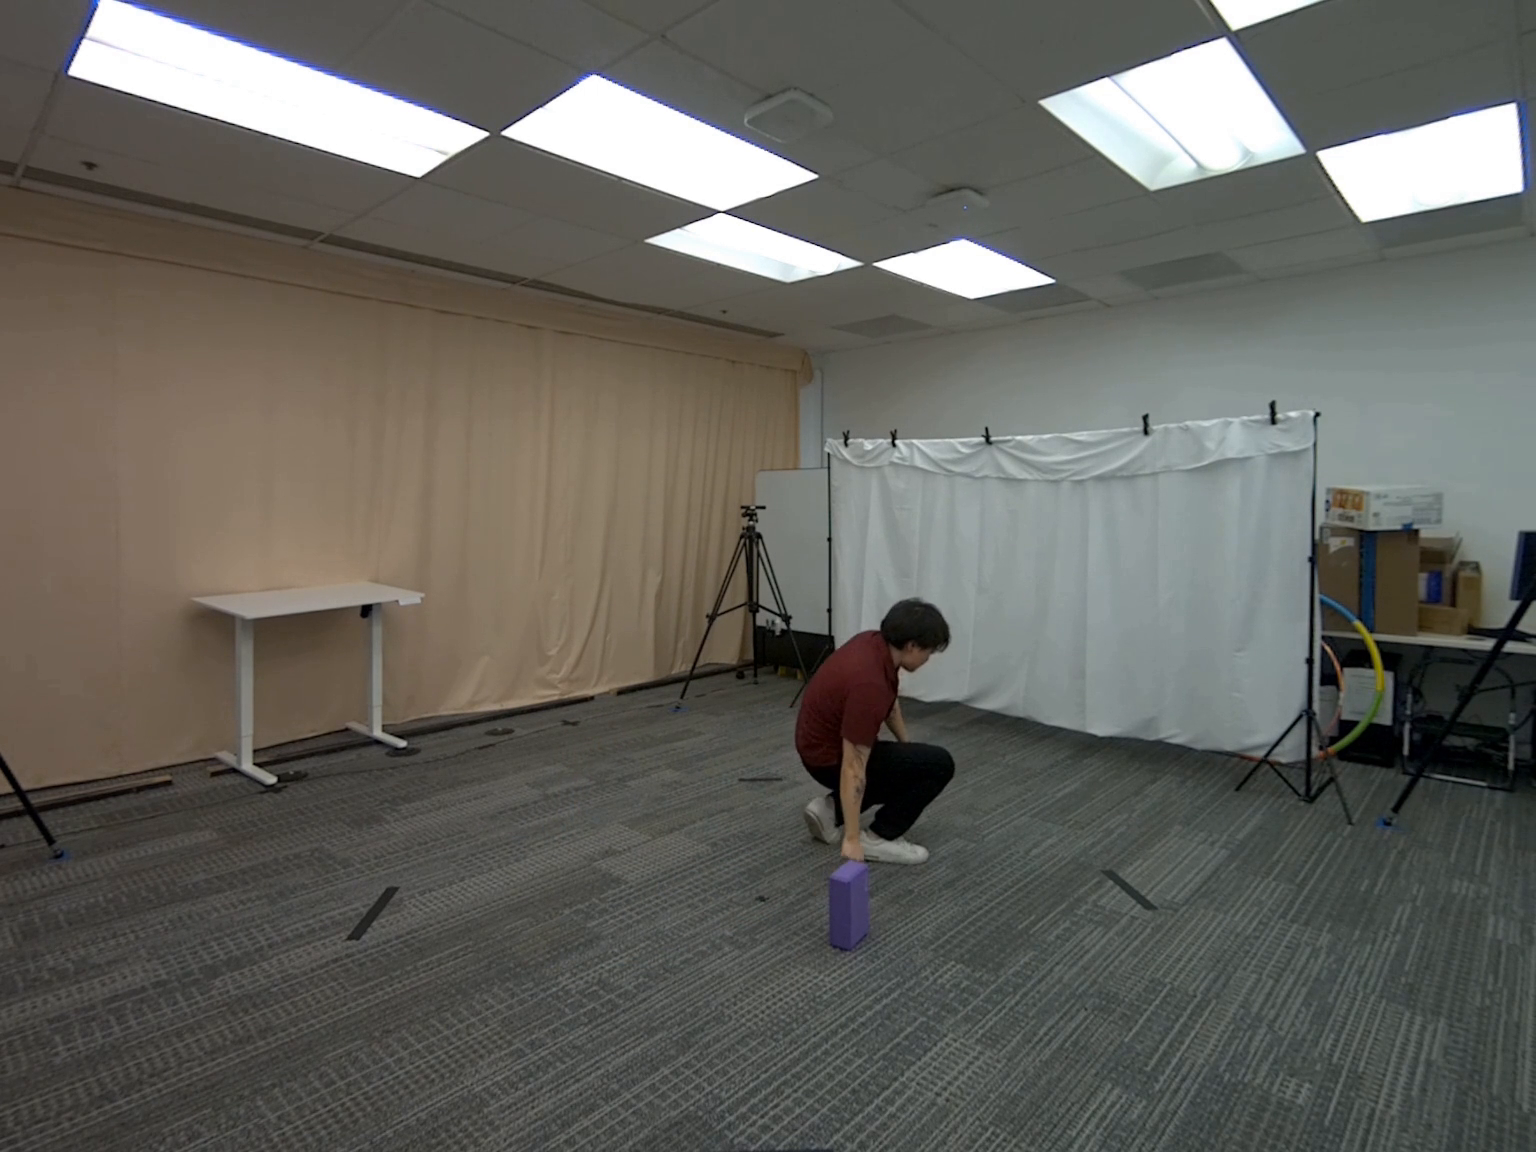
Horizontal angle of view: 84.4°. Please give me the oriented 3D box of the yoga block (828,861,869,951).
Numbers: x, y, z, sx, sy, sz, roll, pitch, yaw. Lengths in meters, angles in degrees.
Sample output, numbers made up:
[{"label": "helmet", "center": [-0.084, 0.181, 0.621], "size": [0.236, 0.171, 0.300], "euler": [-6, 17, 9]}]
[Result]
[{"label": "yoga block", "center": [0.262, 1.047, 2.696], "size": [0.079, 0.229, 0.145], "euler": [2, 5, 32]}]
